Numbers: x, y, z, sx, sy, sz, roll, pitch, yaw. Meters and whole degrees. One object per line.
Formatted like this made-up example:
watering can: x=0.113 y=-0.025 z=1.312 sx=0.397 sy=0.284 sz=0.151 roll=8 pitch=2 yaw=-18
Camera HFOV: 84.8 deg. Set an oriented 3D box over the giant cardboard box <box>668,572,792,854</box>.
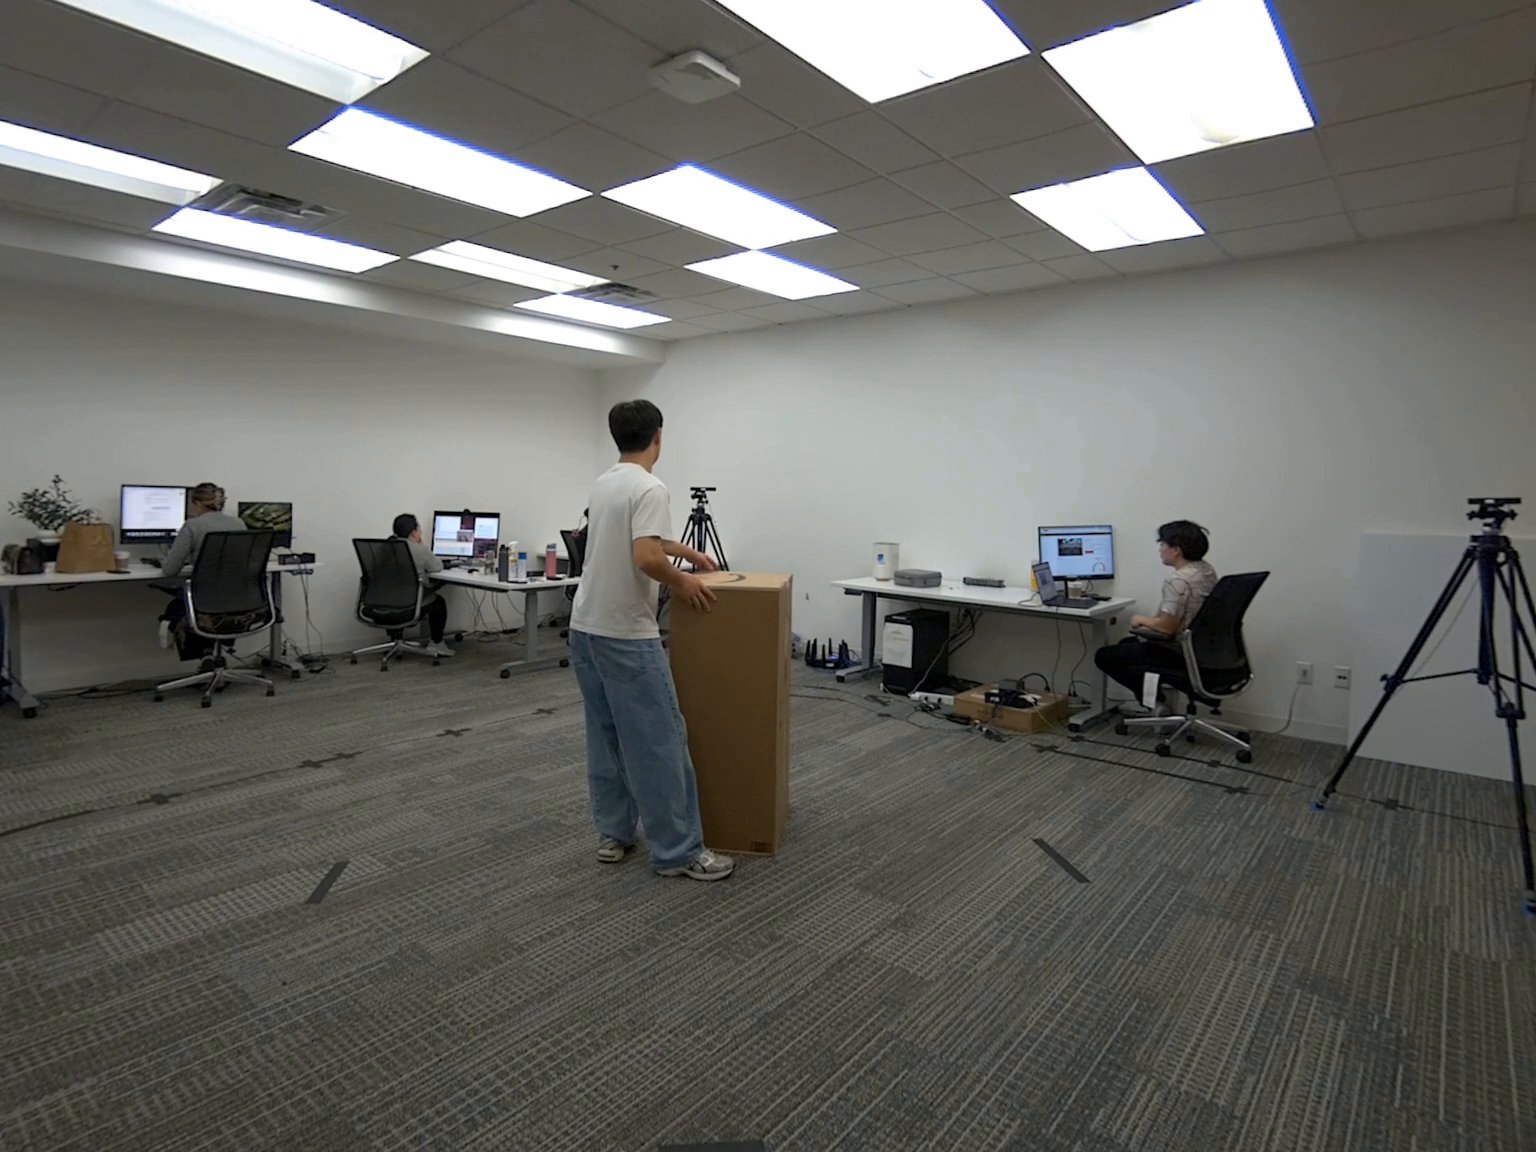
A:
giant cardboard box: x=-0.143 y=0.518 z=3.506 sx=0.430 sy=1.022 sz=0.574 roll=1 pitch=4 yaw=8
